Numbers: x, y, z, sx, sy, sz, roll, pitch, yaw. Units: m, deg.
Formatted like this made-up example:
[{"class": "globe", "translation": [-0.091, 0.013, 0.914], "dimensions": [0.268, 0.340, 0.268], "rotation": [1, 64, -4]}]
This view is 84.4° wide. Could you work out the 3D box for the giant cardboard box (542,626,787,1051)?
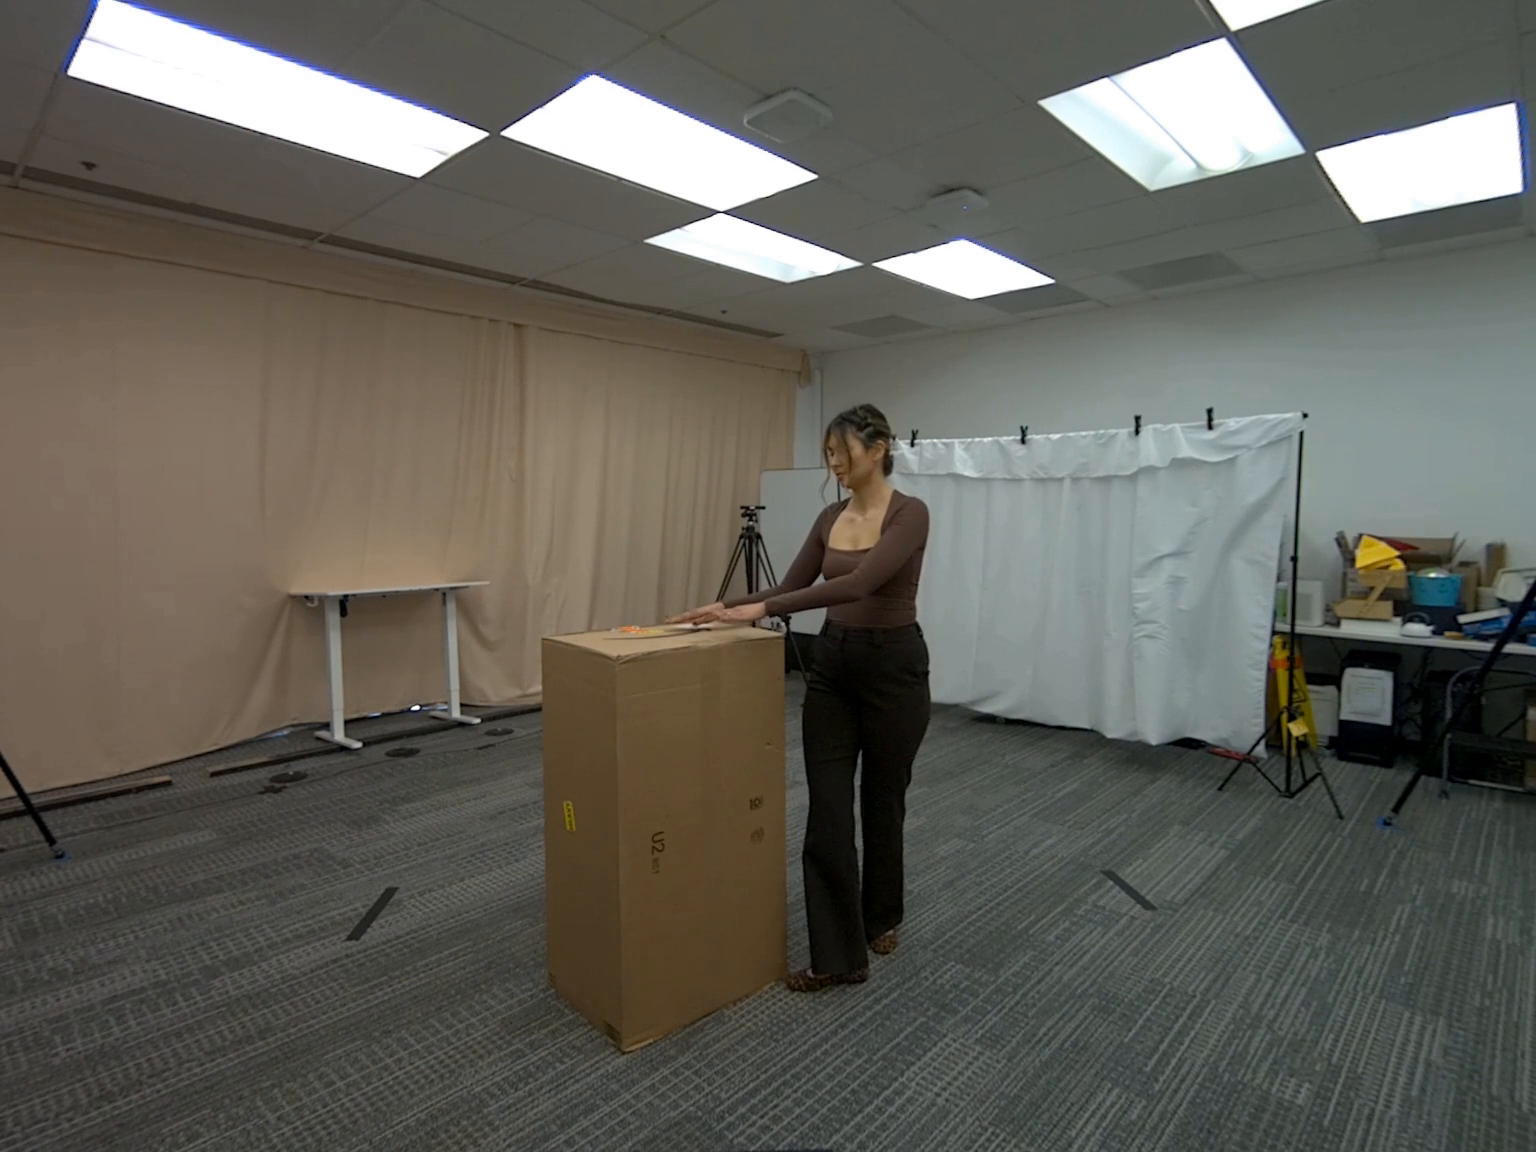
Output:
[{"class": "giant cardboard box", "translation": [-0.302, 0.681, 2.452], "dimensions": [0.566, 1.025, 0.461], "rotation": [-3, 3, -39]}]
